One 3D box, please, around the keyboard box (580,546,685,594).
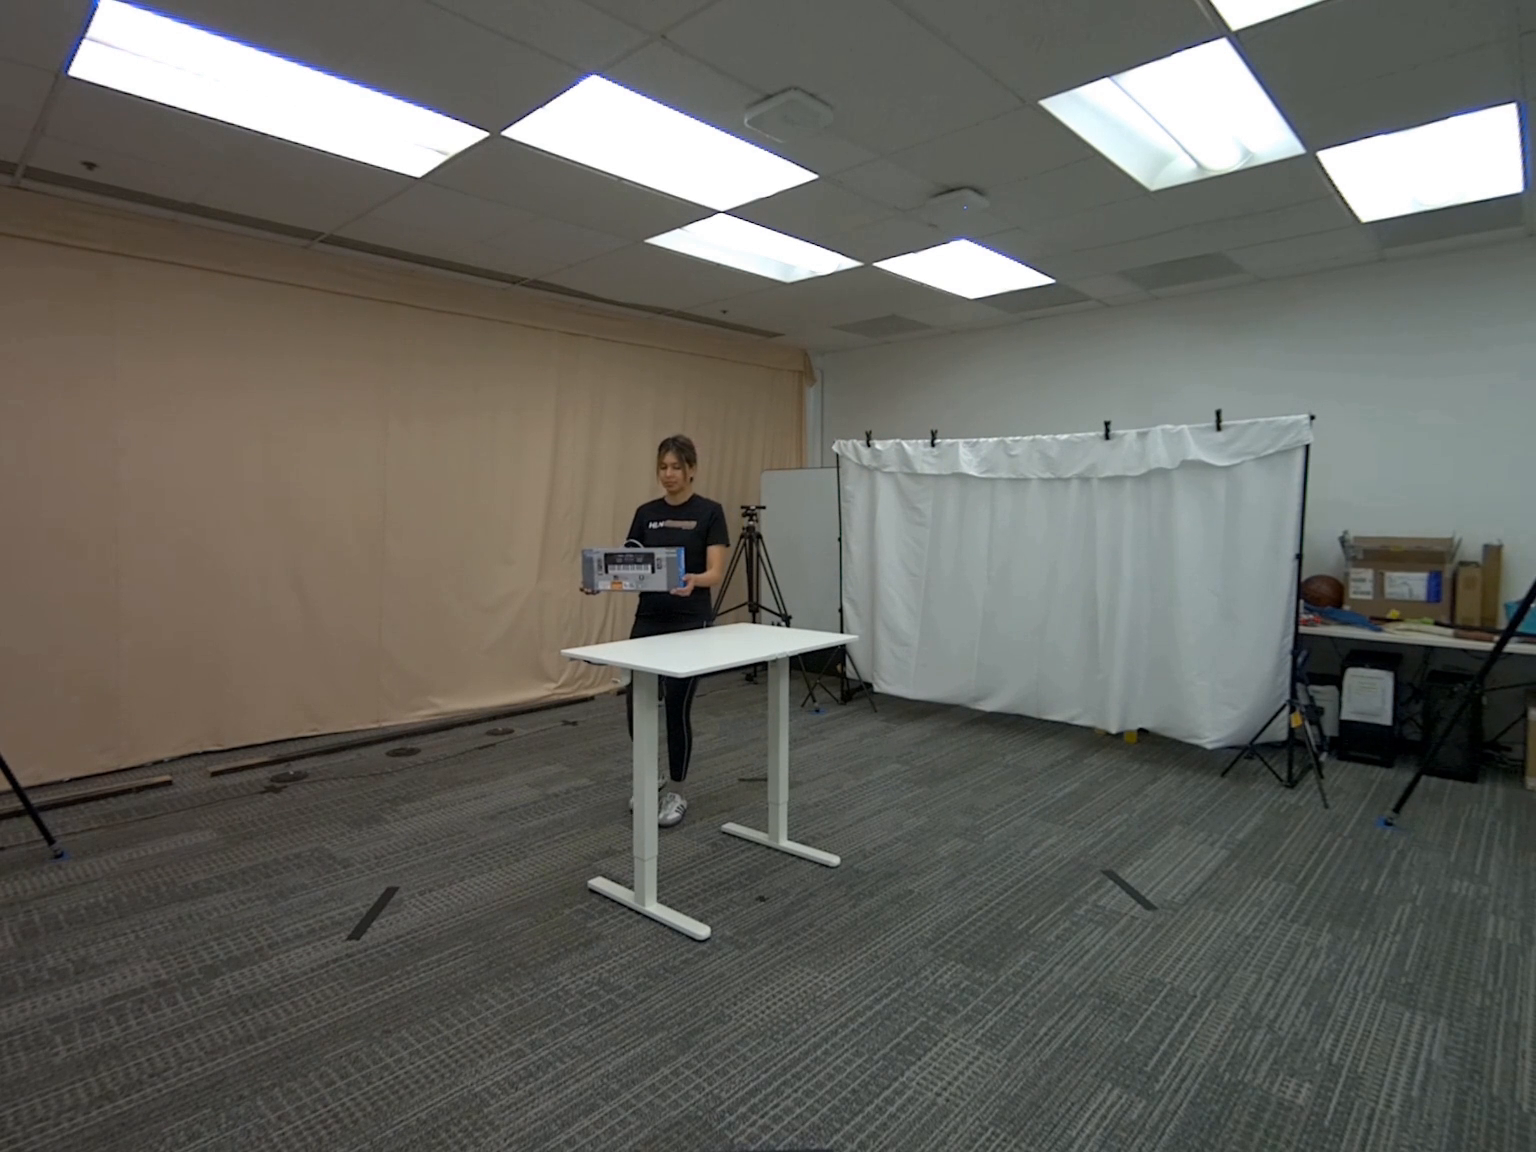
[{"bbox_3d":[-0.550,-0.025,3.420,0.446,0.176,0.058,0,3,20],"label":"keyboard box"}]
